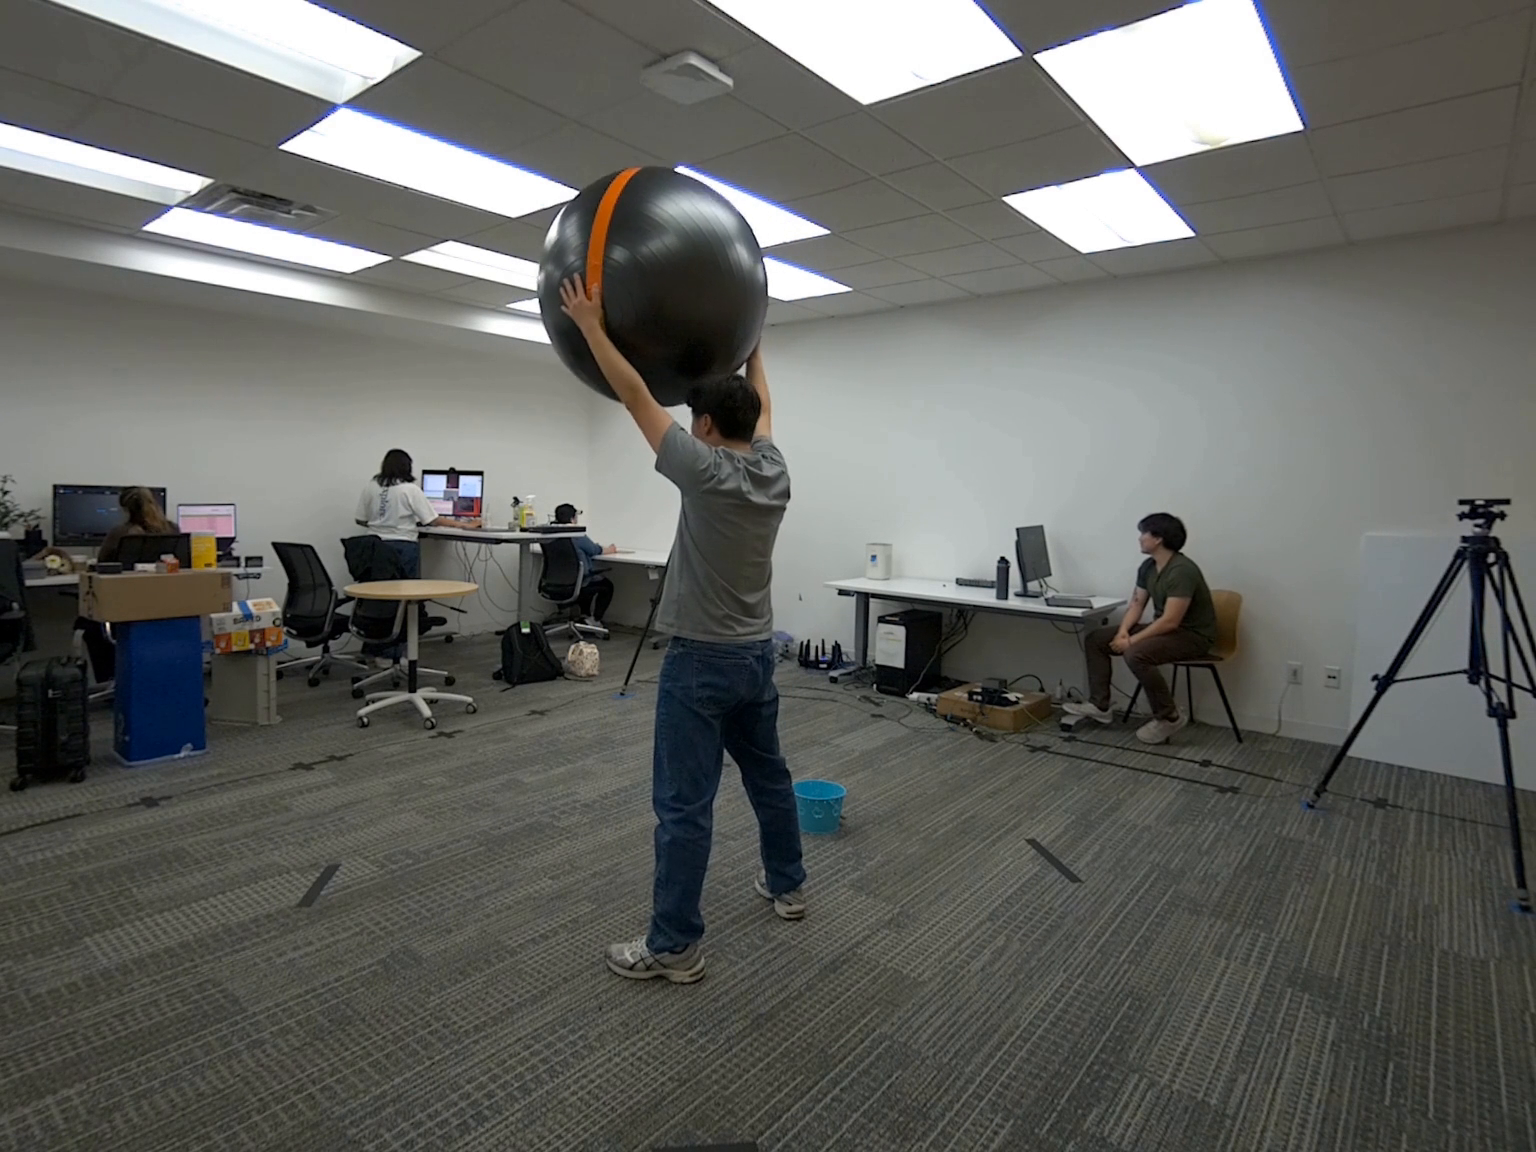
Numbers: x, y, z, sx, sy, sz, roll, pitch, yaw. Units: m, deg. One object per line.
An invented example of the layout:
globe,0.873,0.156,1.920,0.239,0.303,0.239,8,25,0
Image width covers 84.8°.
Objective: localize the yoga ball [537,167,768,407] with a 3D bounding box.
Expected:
yoga ball,-0.403,-0.915,2.816,0.757,0.755,0.762,1,4,-2
